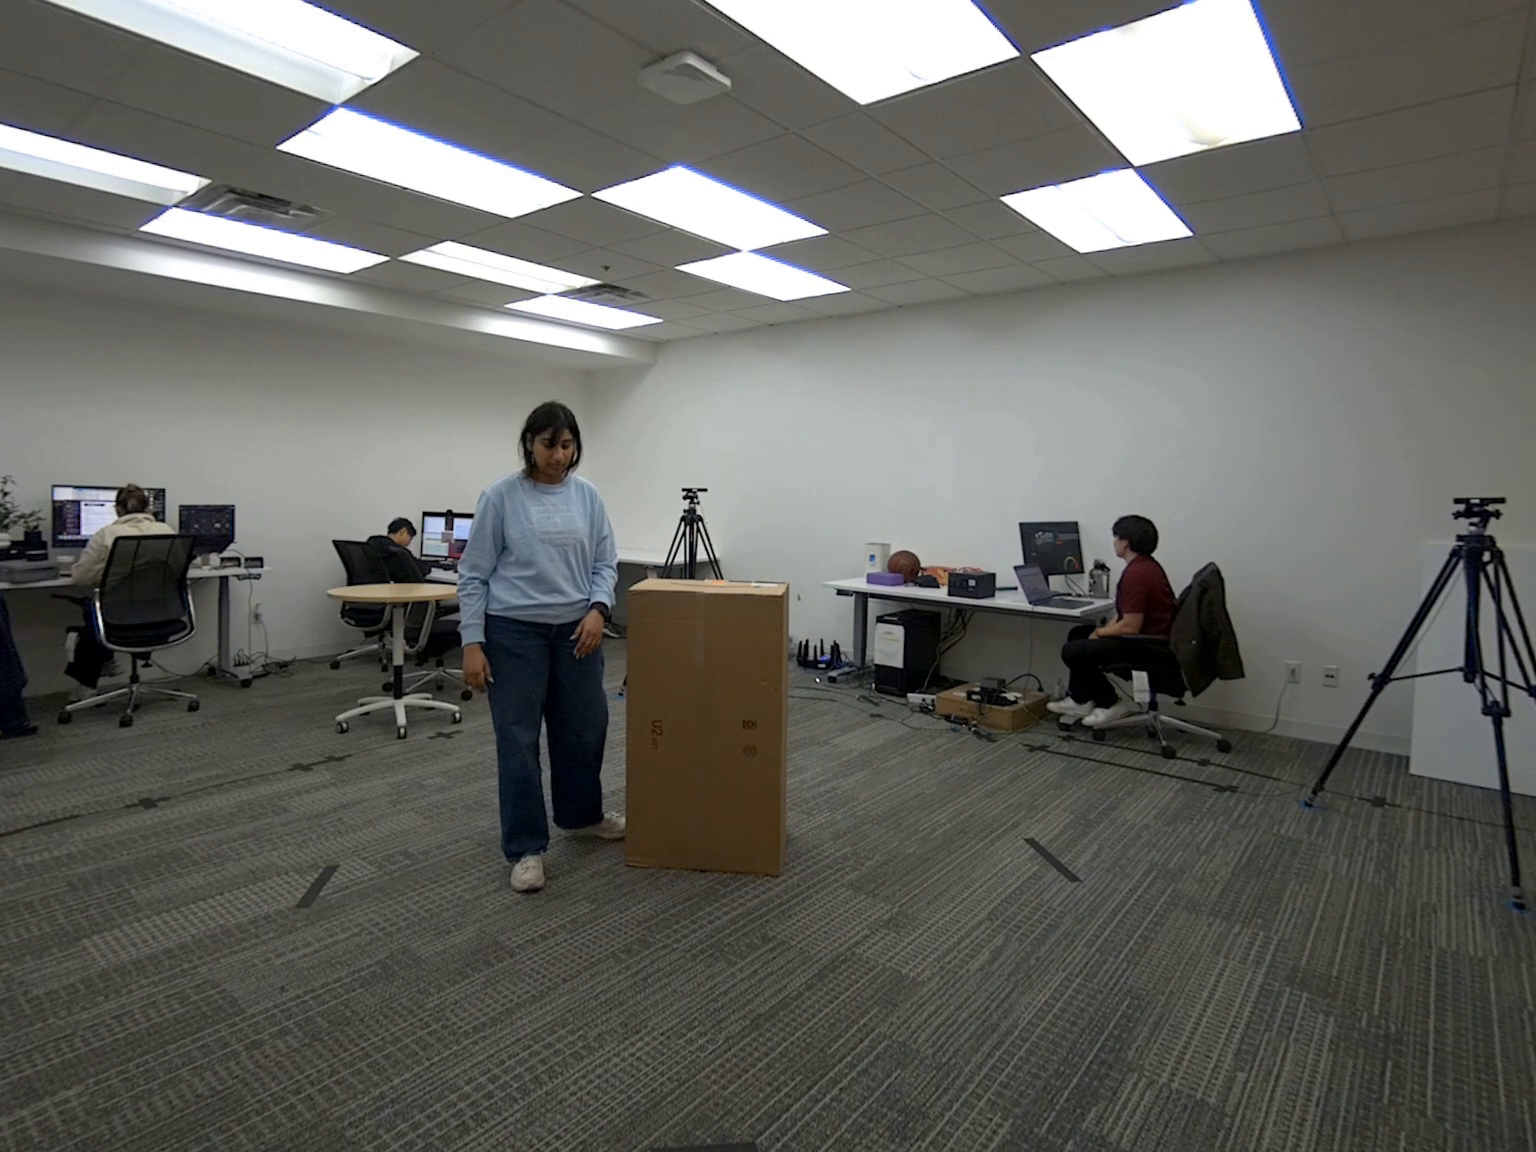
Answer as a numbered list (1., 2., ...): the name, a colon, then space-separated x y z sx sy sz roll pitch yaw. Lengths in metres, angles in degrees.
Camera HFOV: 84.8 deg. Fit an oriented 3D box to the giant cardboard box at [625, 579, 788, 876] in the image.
1. giant cardboard box: -0.226 0.546 3.282 0.582 1.023 0.424 1 3 6
